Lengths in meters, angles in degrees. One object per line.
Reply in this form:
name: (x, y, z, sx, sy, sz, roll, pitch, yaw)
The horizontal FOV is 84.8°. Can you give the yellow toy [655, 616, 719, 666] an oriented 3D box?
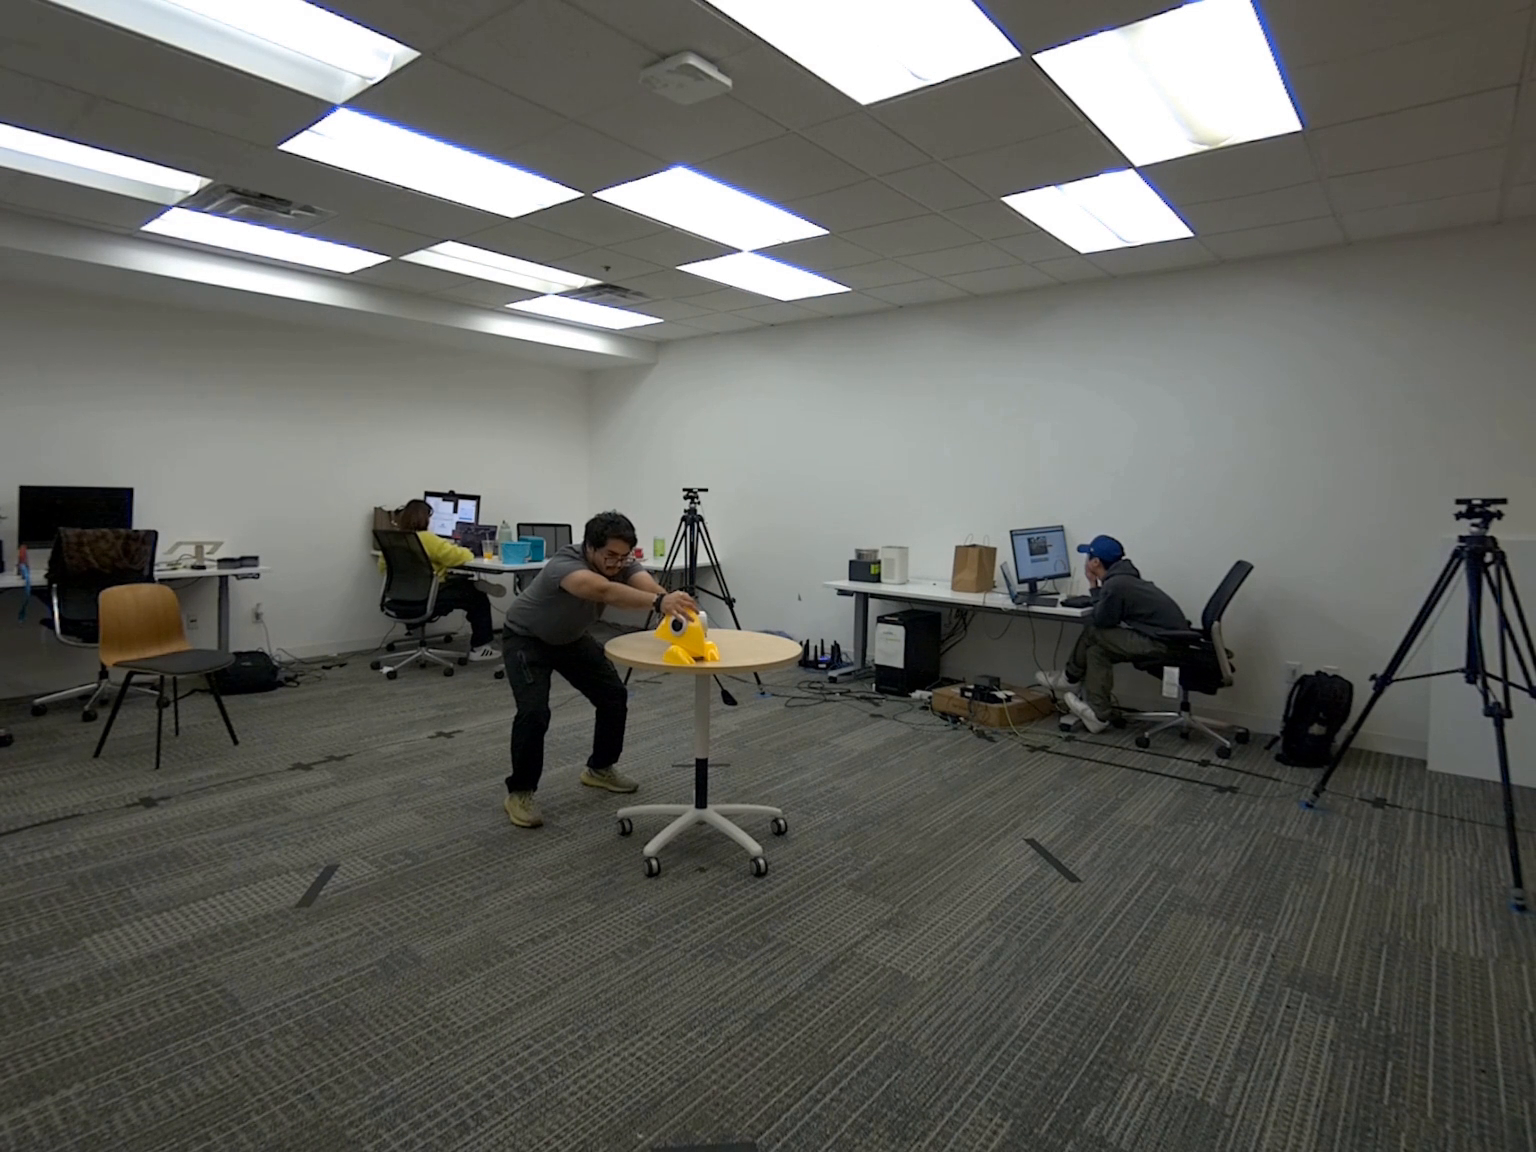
yellow toy: (-0.292, 0.184, 3.061, 0.199, 0.230, 0.199, -2, 5, -36)
